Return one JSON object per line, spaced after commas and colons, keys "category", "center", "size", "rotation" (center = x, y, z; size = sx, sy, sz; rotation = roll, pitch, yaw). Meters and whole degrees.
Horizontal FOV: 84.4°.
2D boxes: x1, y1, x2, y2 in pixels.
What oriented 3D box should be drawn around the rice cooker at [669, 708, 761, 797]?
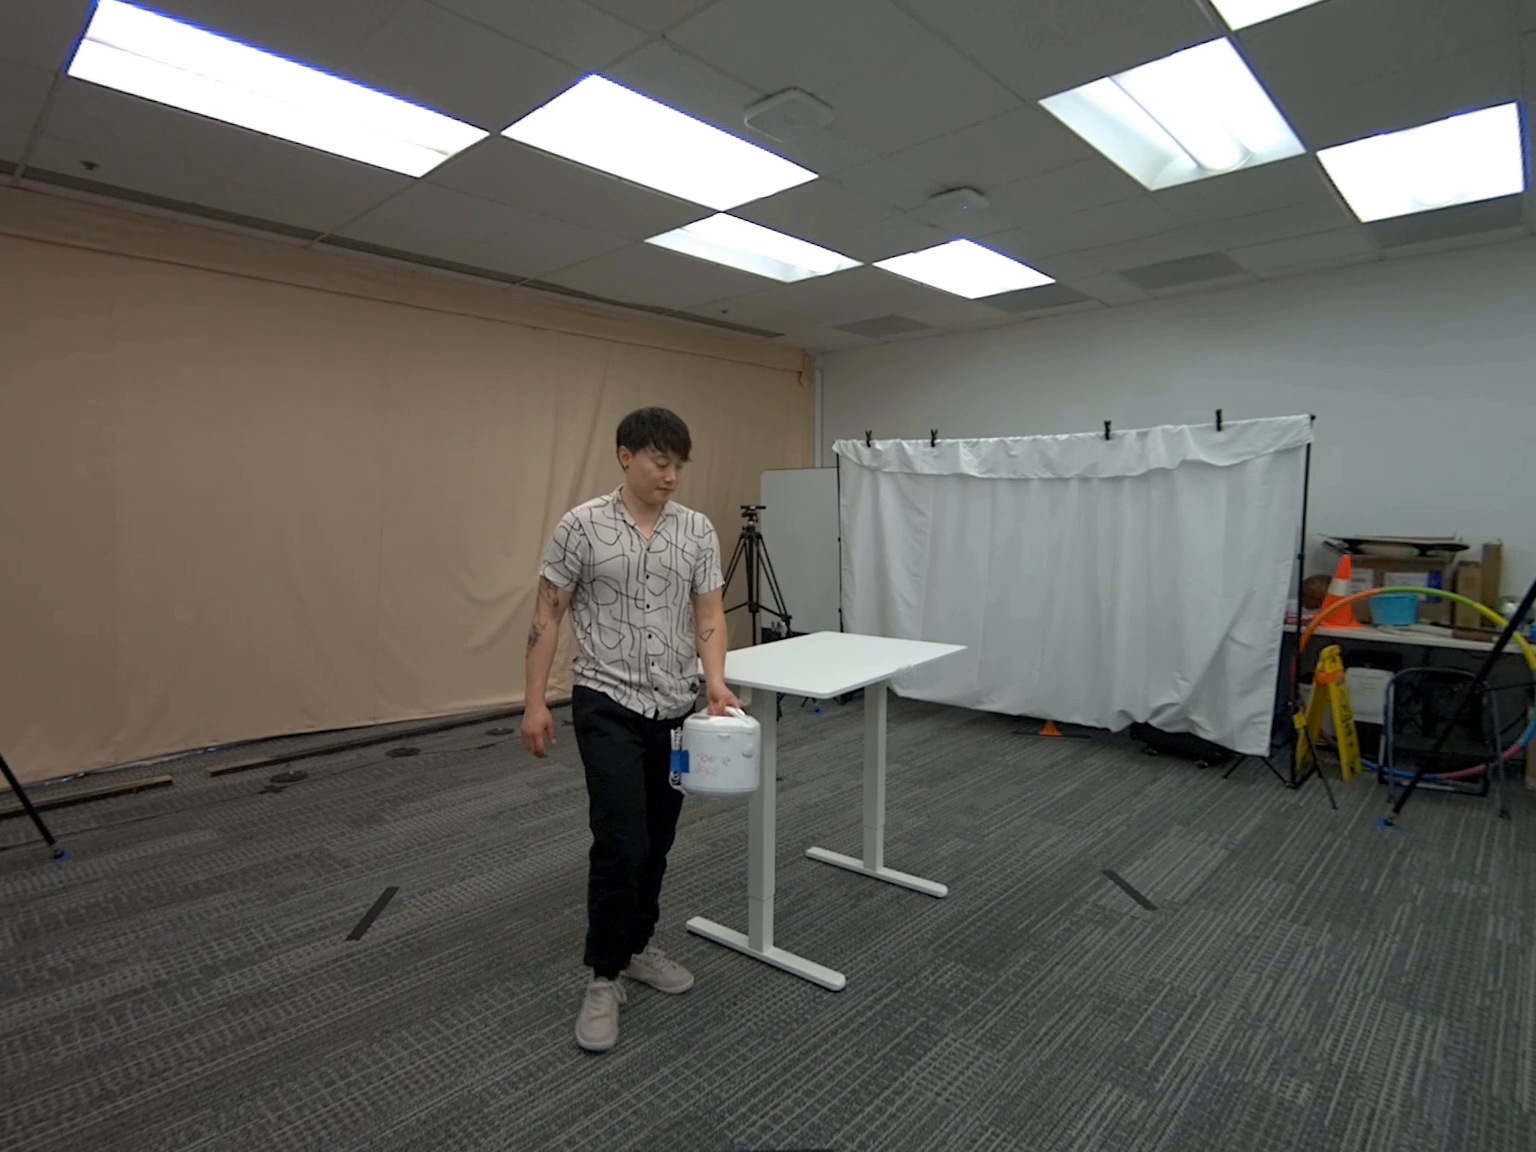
{"category": "rice cooker", "center": [-0.128, 0.461, 2.228], "size": [0.210, 0.234, 0.227], "rotation": [9, -9, -43]}
